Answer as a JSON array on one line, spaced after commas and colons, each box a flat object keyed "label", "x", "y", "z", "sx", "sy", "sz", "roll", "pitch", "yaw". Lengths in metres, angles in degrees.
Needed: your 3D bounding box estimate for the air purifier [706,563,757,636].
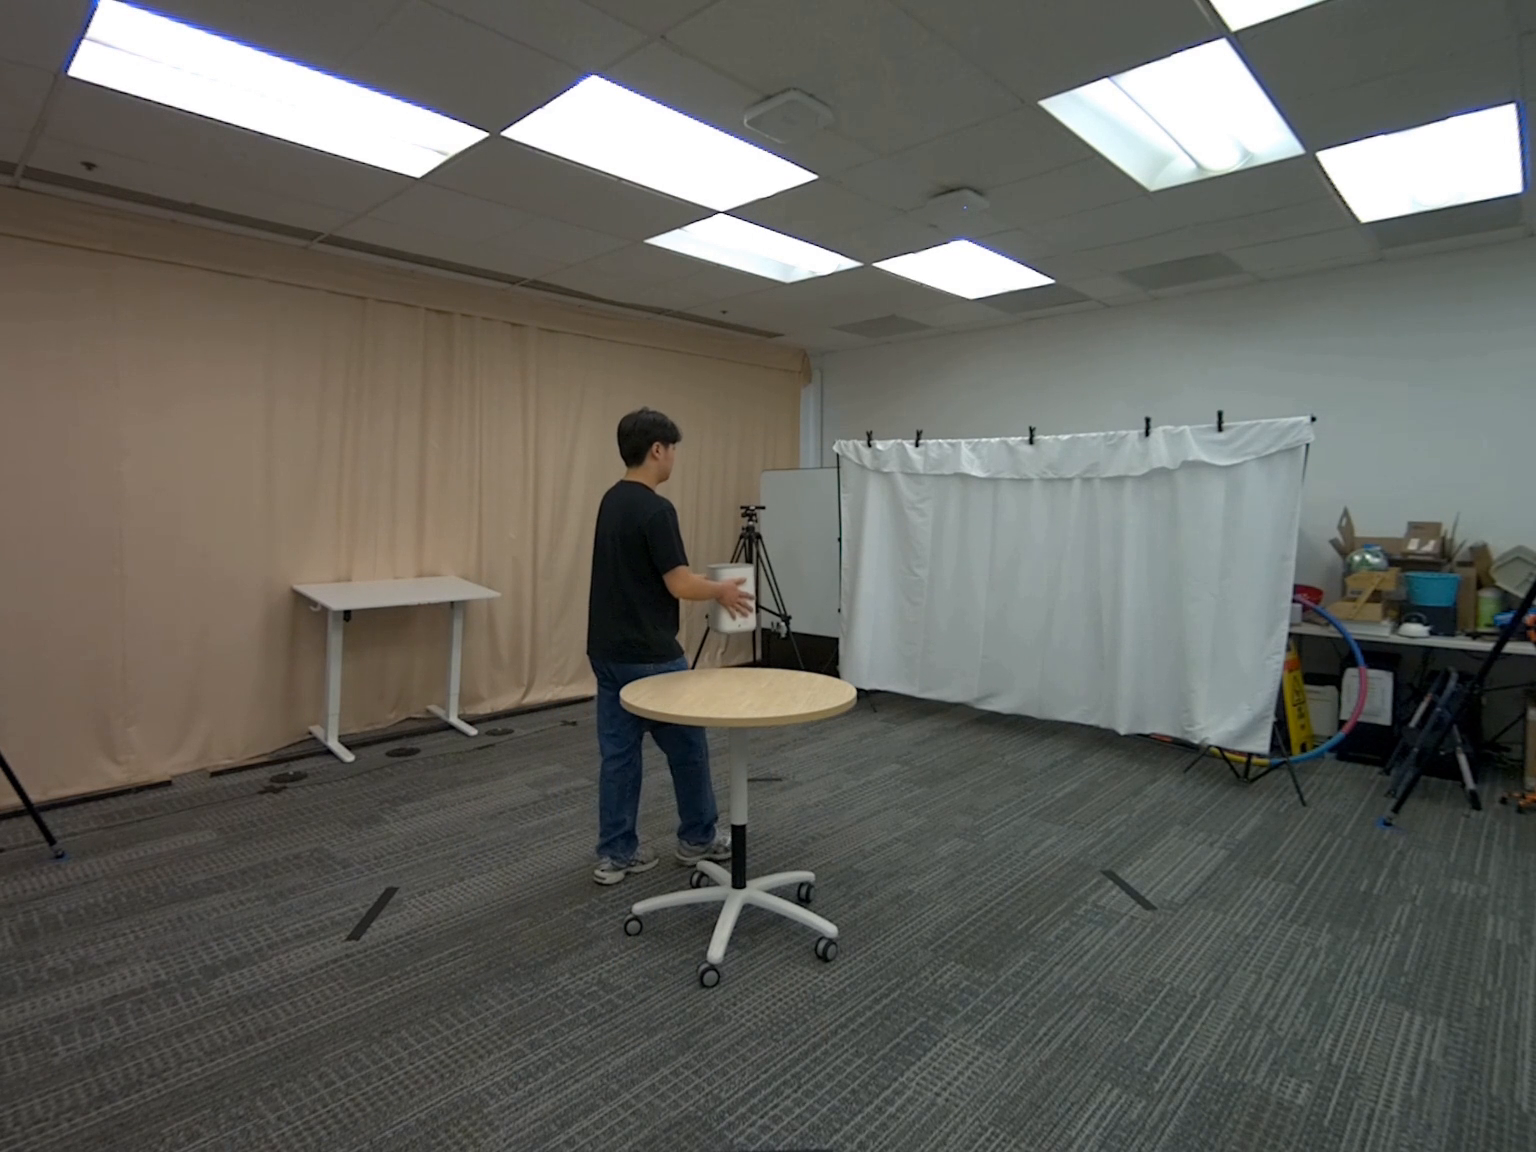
[{"label": "air purifier", "x": -0.142, "y": 0.091, "z": 3.341, "sx": 0.168, "sy": 0.265, "sz": 0.175, "roll": -3, "pitch": 4, "yaw": -18}]
